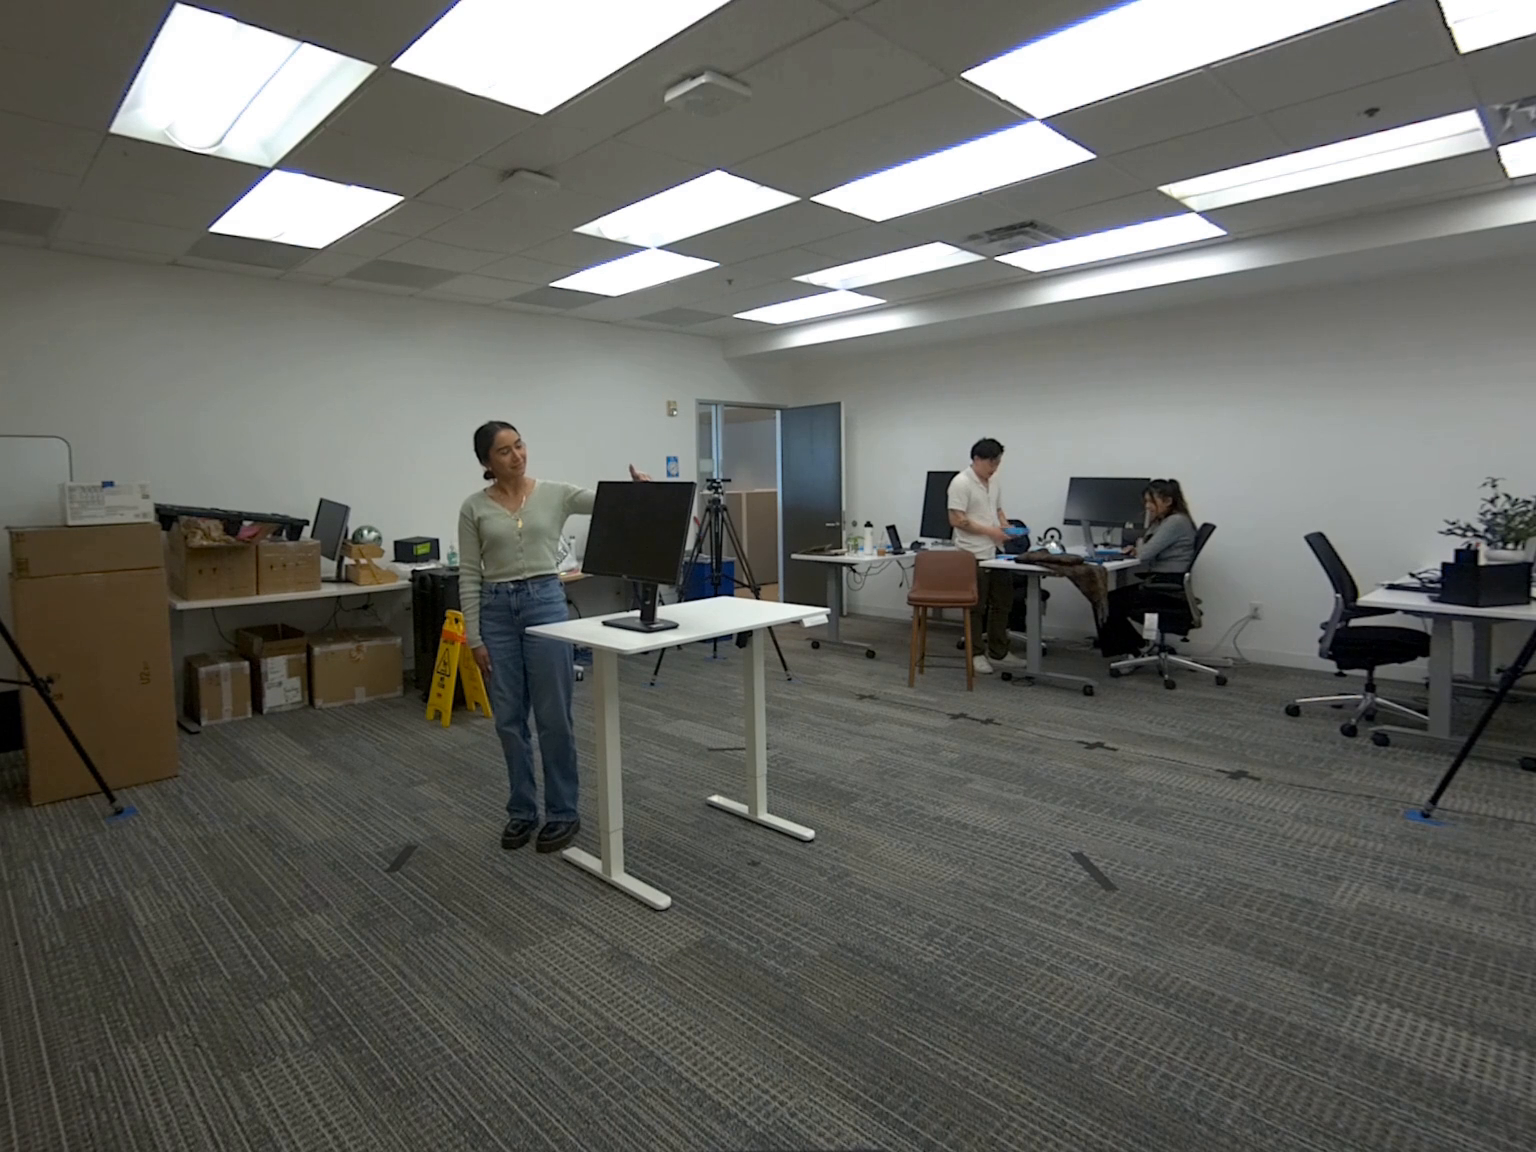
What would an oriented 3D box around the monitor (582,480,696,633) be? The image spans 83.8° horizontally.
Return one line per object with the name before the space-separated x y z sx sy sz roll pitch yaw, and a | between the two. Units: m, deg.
monitor | -0.444 -0.073 3.032 0.556 0.521 0.182 4 4 42
